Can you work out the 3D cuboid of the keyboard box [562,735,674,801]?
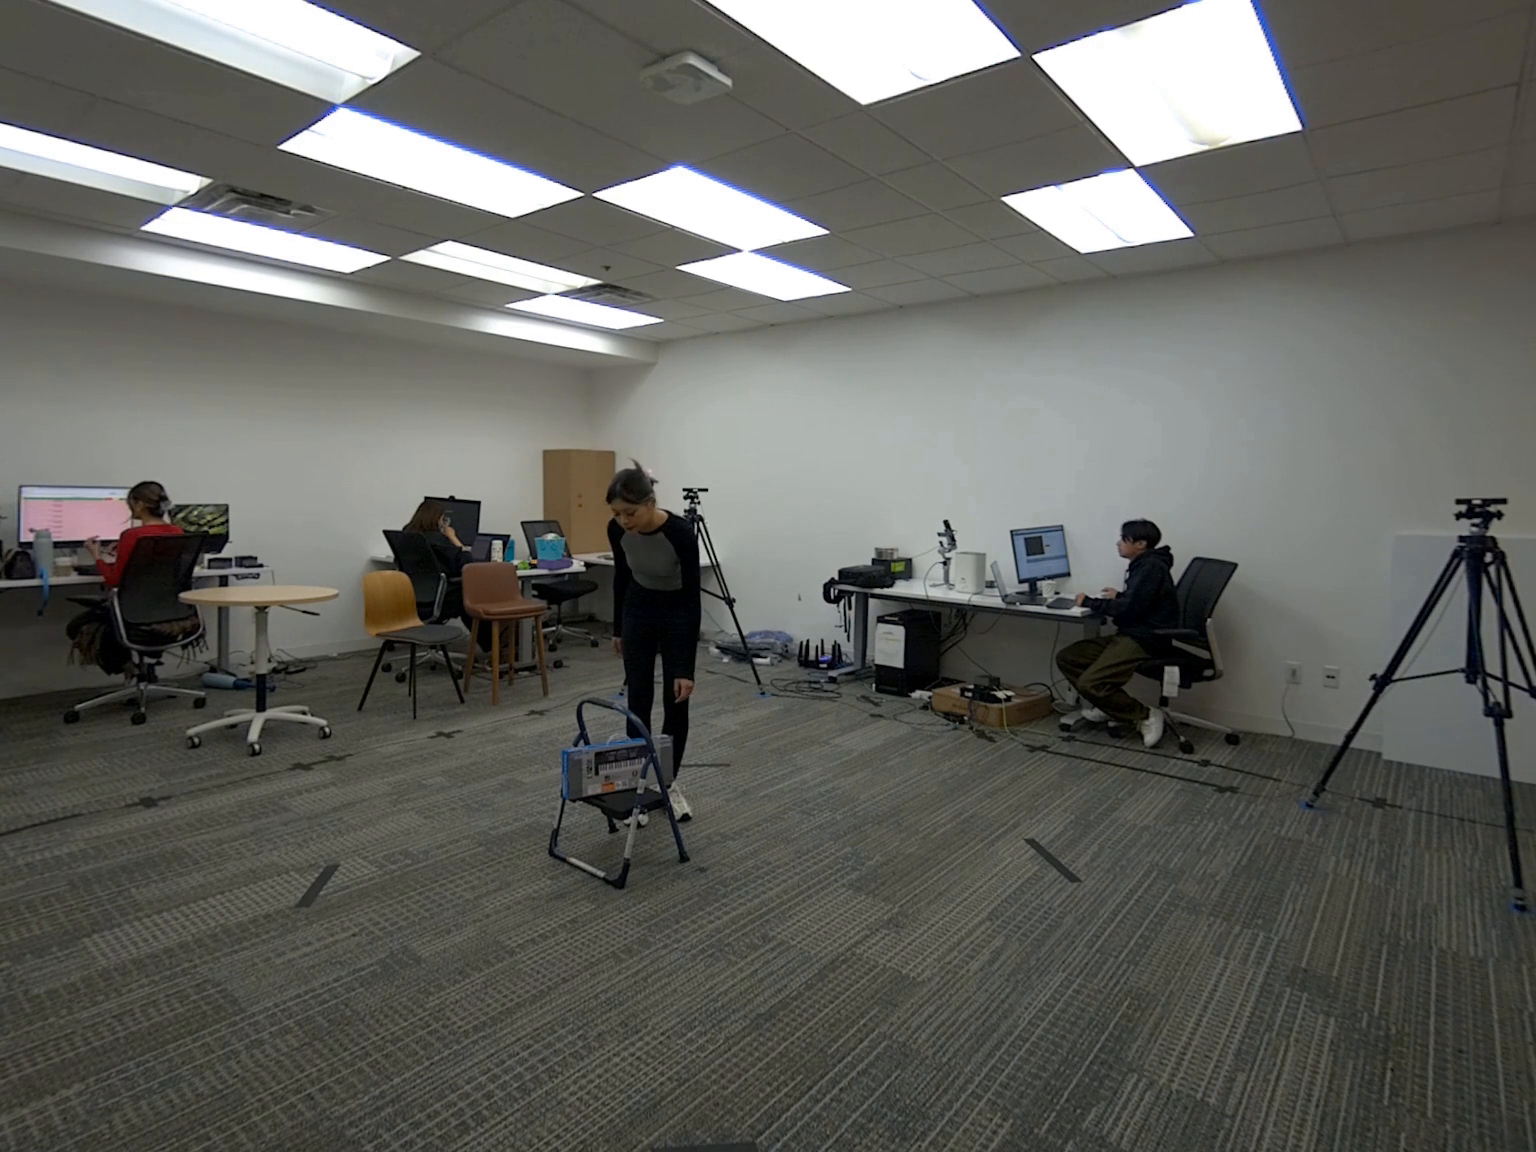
[{"bbox_3d":[-0.575,0.708,3.179,0.424,0.176,0.061,-2,-2,-33],"label":"keyboard box"}]
